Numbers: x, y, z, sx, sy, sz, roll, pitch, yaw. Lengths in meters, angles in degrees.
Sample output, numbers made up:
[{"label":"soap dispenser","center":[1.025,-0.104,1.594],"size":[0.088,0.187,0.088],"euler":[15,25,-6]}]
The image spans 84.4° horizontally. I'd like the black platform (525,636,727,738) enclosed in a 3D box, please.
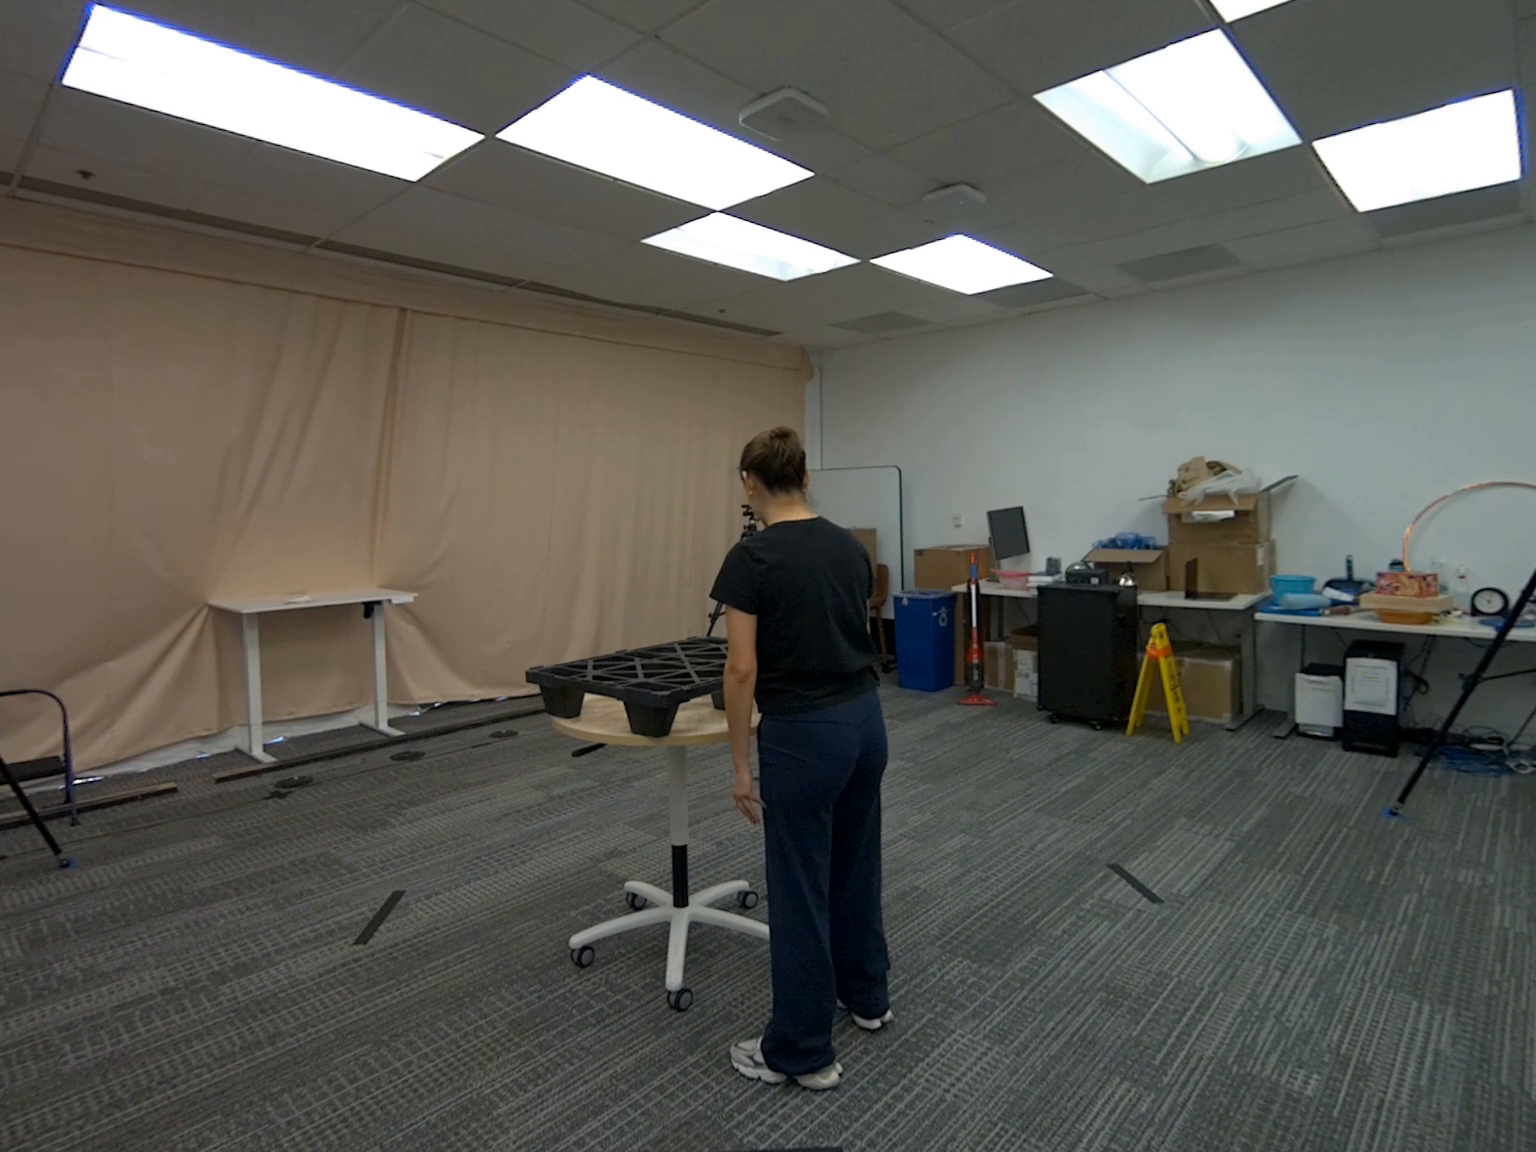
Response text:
[{"label":"black platform","center":[-0.250,0.330,2.637],"size":[0.625,0.143,0.781],"euler":[2,5,39]}]
